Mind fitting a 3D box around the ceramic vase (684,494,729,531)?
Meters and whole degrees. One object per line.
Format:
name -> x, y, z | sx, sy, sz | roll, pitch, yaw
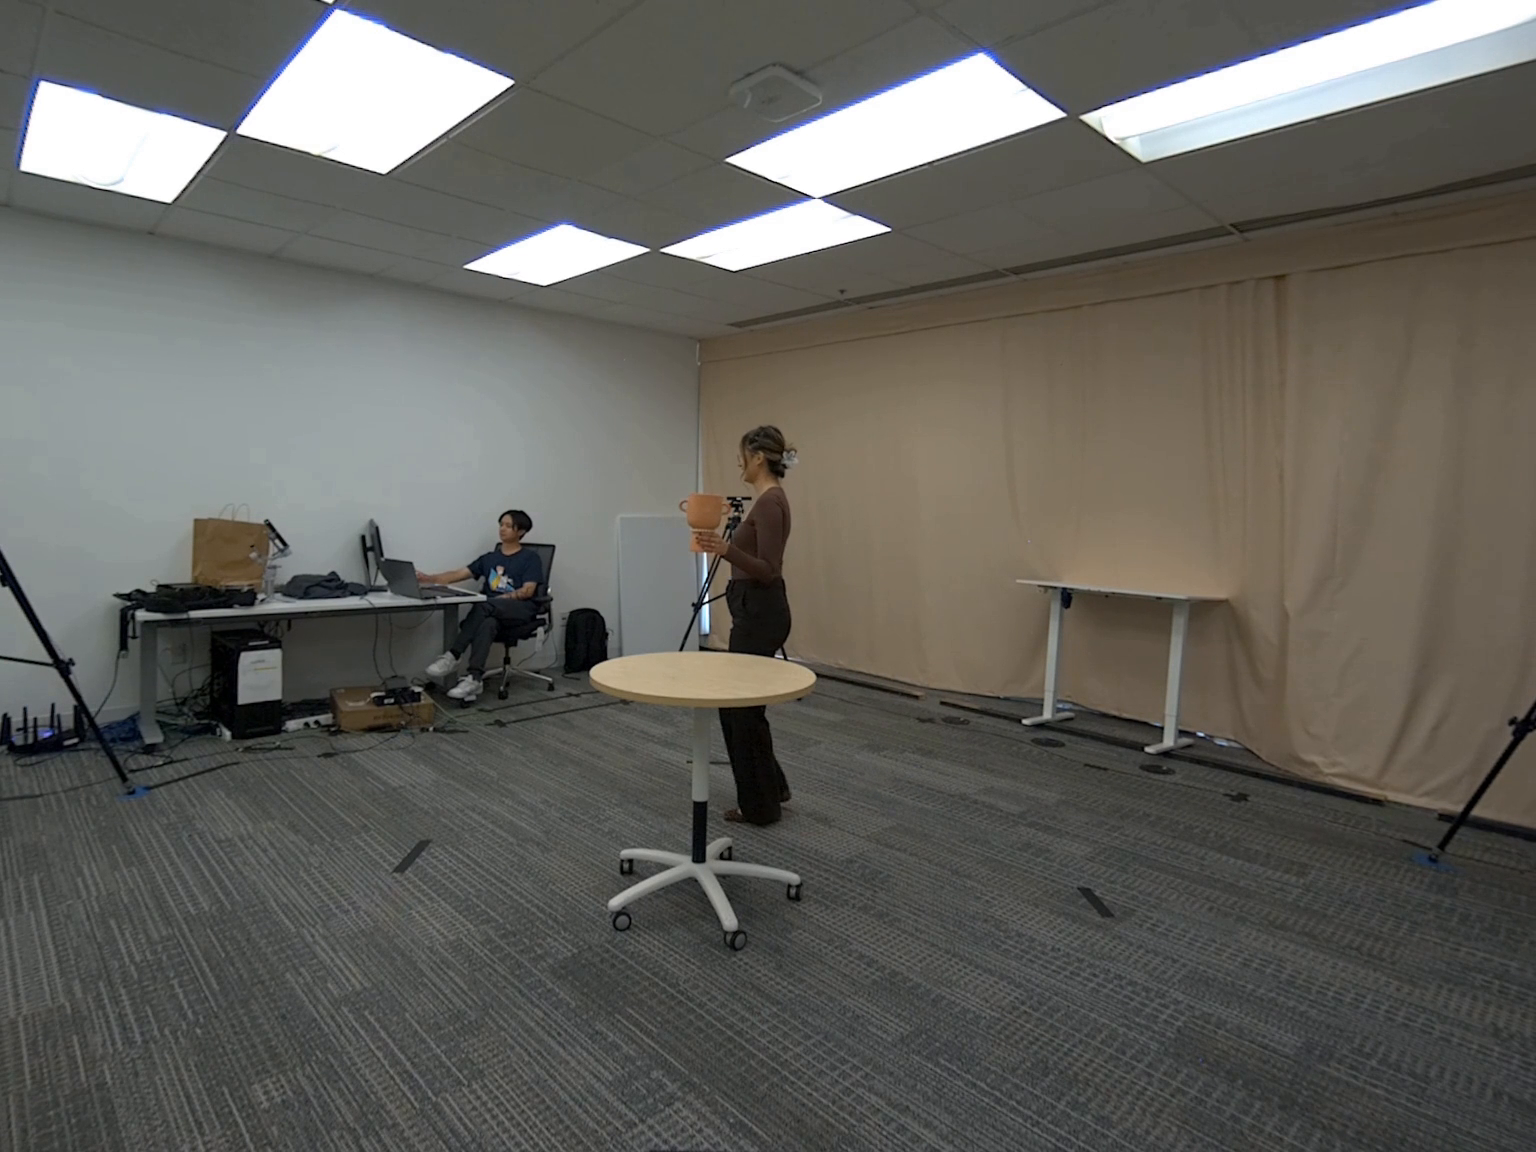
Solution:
ceramic vase -> -0.255, -0.204, 3.222 | 0.163, 0.219, 0.131 | 5, 5, 41
